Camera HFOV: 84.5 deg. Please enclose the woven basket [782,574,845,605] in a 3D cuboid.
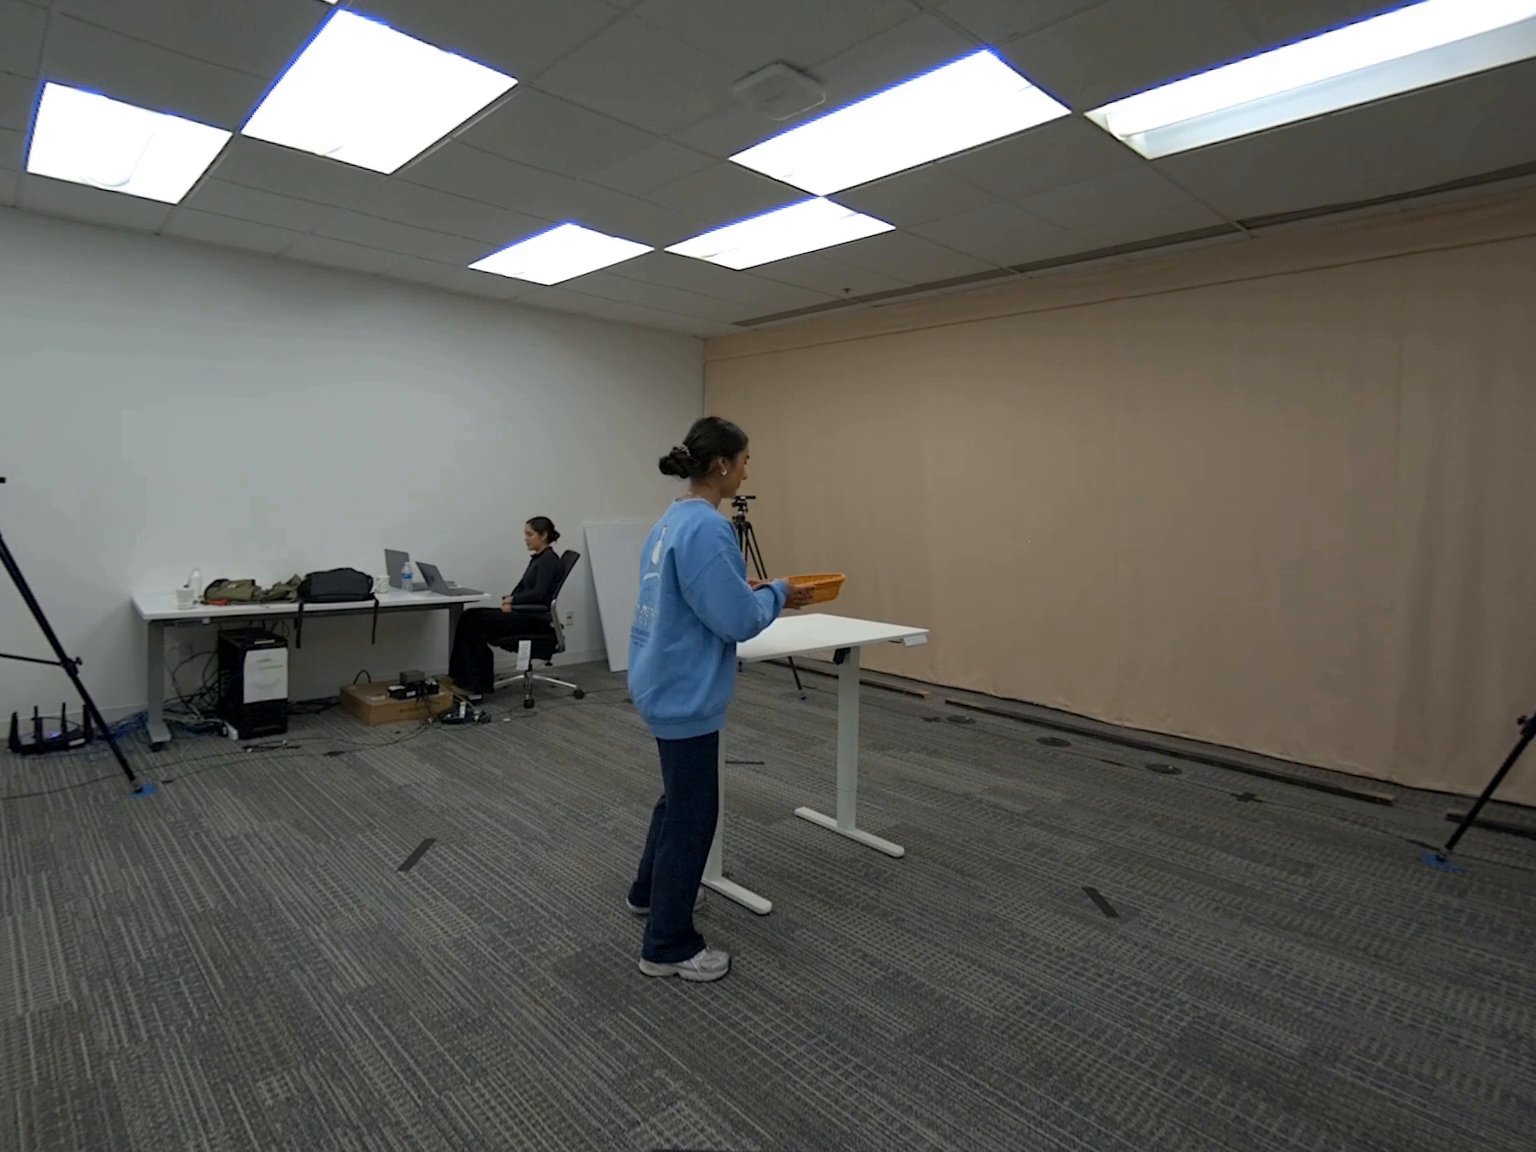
[{"bbox_3d":[0.084,0.055,2.707,0.343,0.073,0.258,-10,8,-43],"label":"woven basket"}]
